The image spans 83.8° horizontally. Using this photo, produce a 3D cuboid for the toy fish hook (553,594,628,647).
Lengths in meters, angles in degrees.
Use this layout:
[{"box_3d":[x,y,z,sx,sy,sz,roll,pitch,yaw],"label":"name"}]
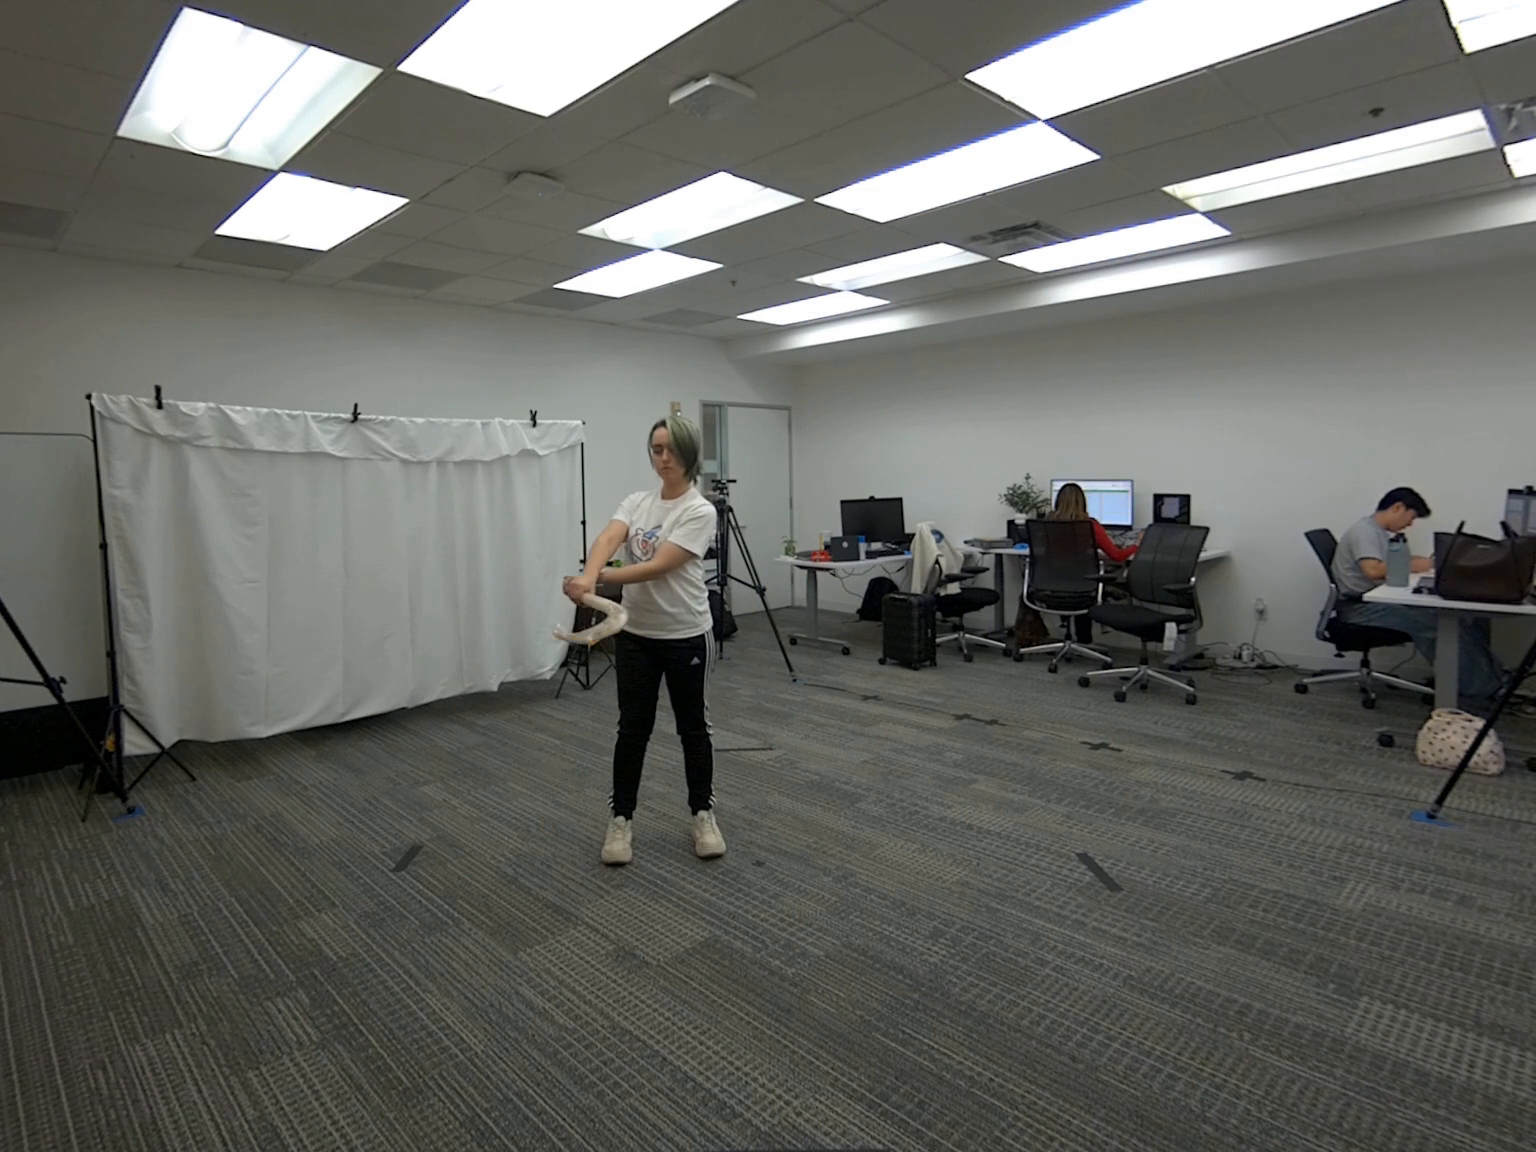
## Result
[{"box_3d":[-0.618,0.103,2.739,0.221,0.047,0.524,-18,23,-22],"label":"toy fish hook"}]
